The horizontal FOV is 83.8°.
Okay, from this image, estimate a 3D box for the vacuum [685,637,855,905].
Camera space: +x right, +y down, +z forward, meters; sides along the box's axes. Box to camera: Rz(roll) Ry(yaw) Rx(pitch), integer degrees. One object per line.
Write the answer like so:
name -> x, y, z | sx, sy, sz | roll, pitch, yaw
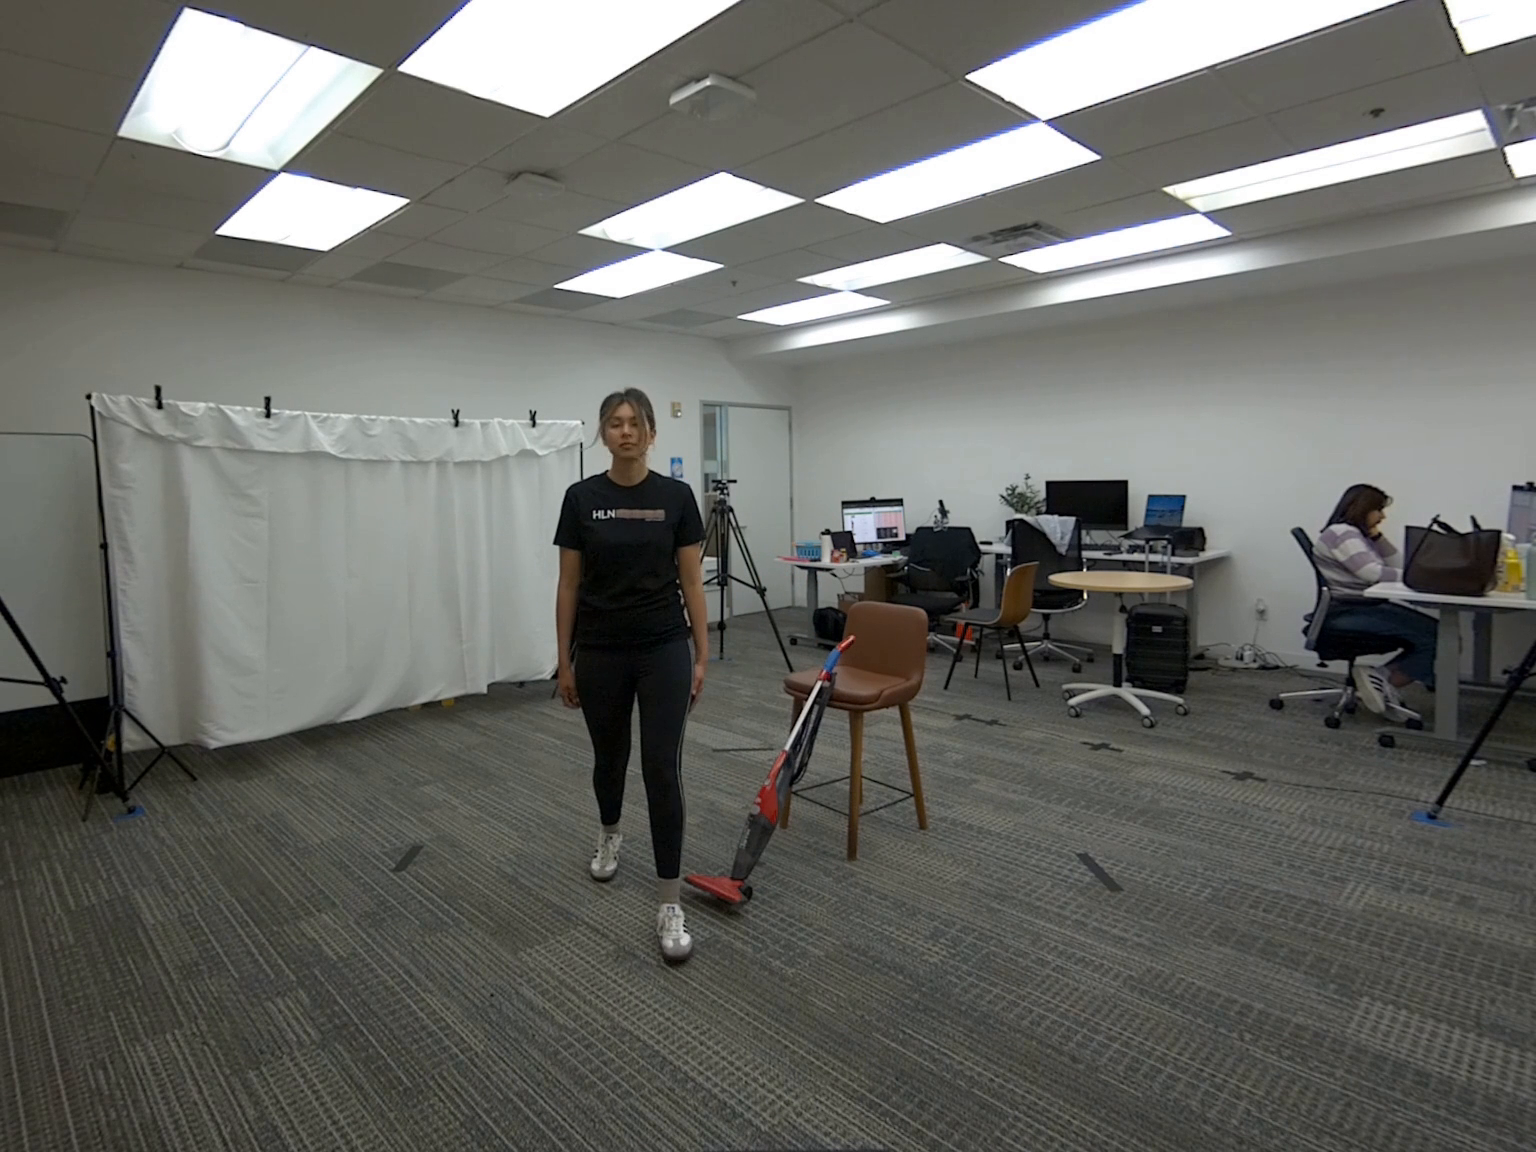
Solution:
vacuum -> 0.088, 0.653, 3.069 | 0.260, 1.056, 0.139 | 4, -36, 41
